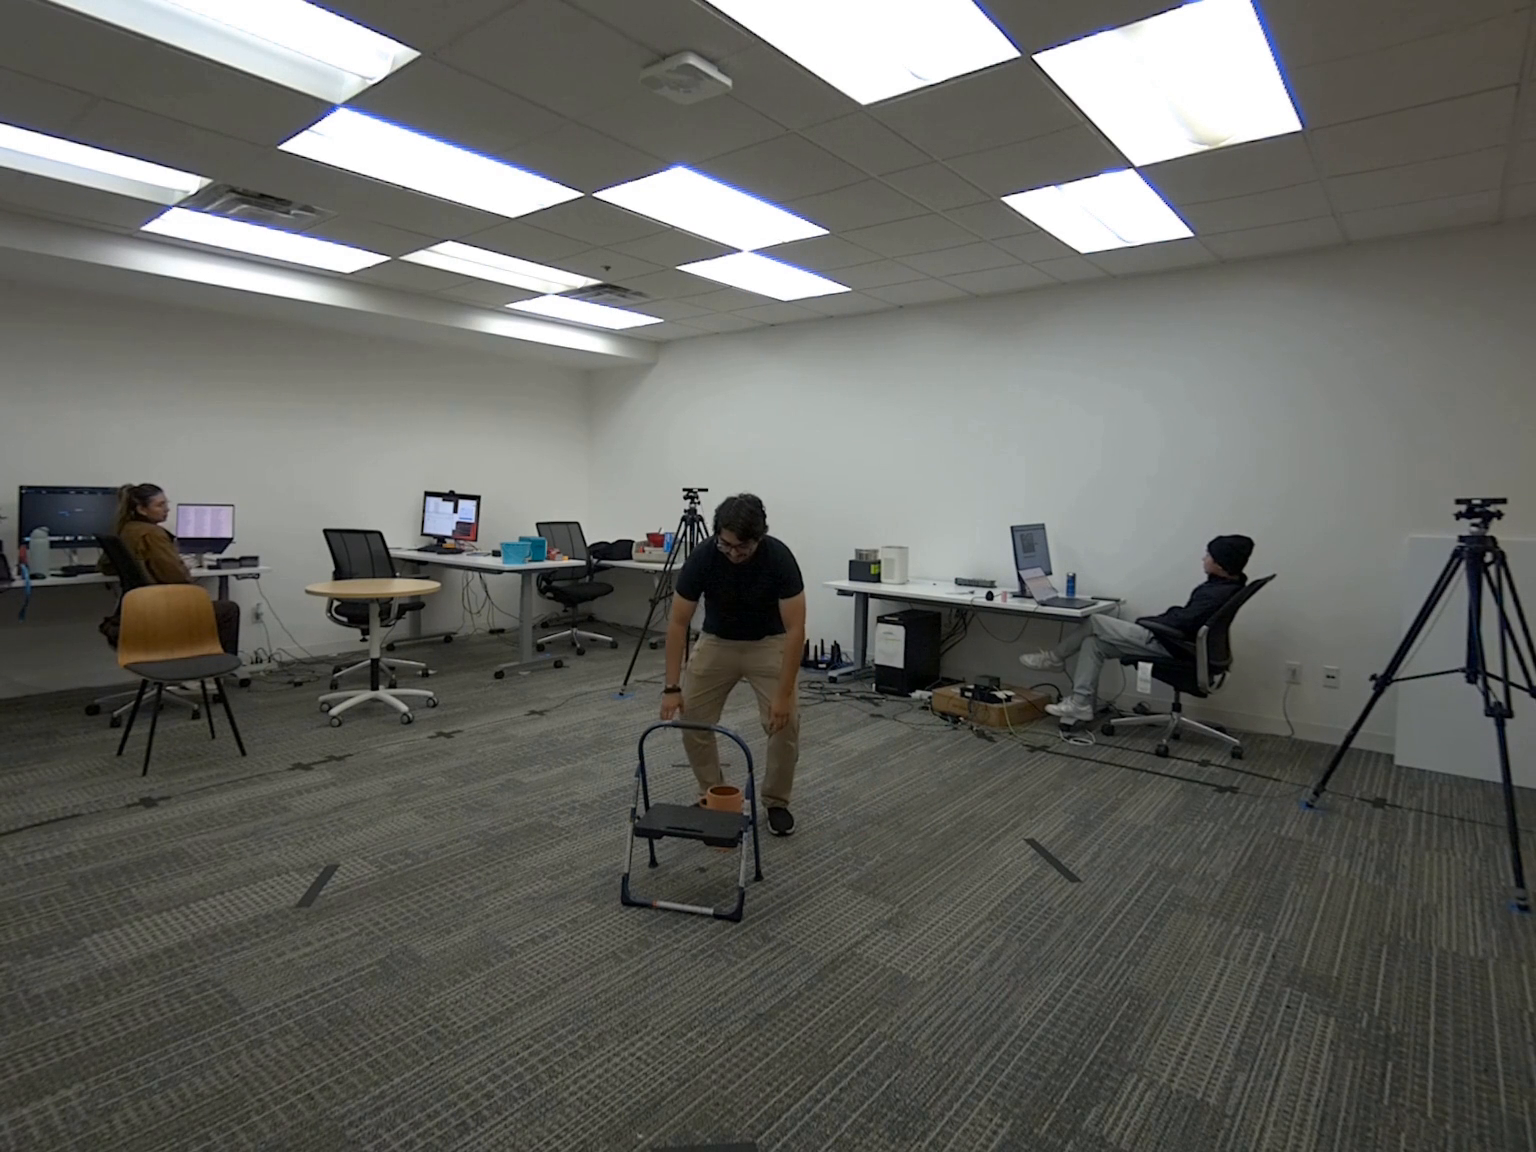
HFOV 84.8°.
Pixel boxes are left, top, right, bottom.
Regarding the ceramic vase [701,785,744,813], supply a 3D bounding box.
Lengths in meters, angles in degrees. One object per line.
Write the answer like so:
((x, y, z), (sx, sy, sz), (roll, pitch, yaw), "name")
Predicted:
((-0.176, 0.934, 3.307), (0.164, 0.219, 0.130), (5, 4, 44), "ceramic vase")
